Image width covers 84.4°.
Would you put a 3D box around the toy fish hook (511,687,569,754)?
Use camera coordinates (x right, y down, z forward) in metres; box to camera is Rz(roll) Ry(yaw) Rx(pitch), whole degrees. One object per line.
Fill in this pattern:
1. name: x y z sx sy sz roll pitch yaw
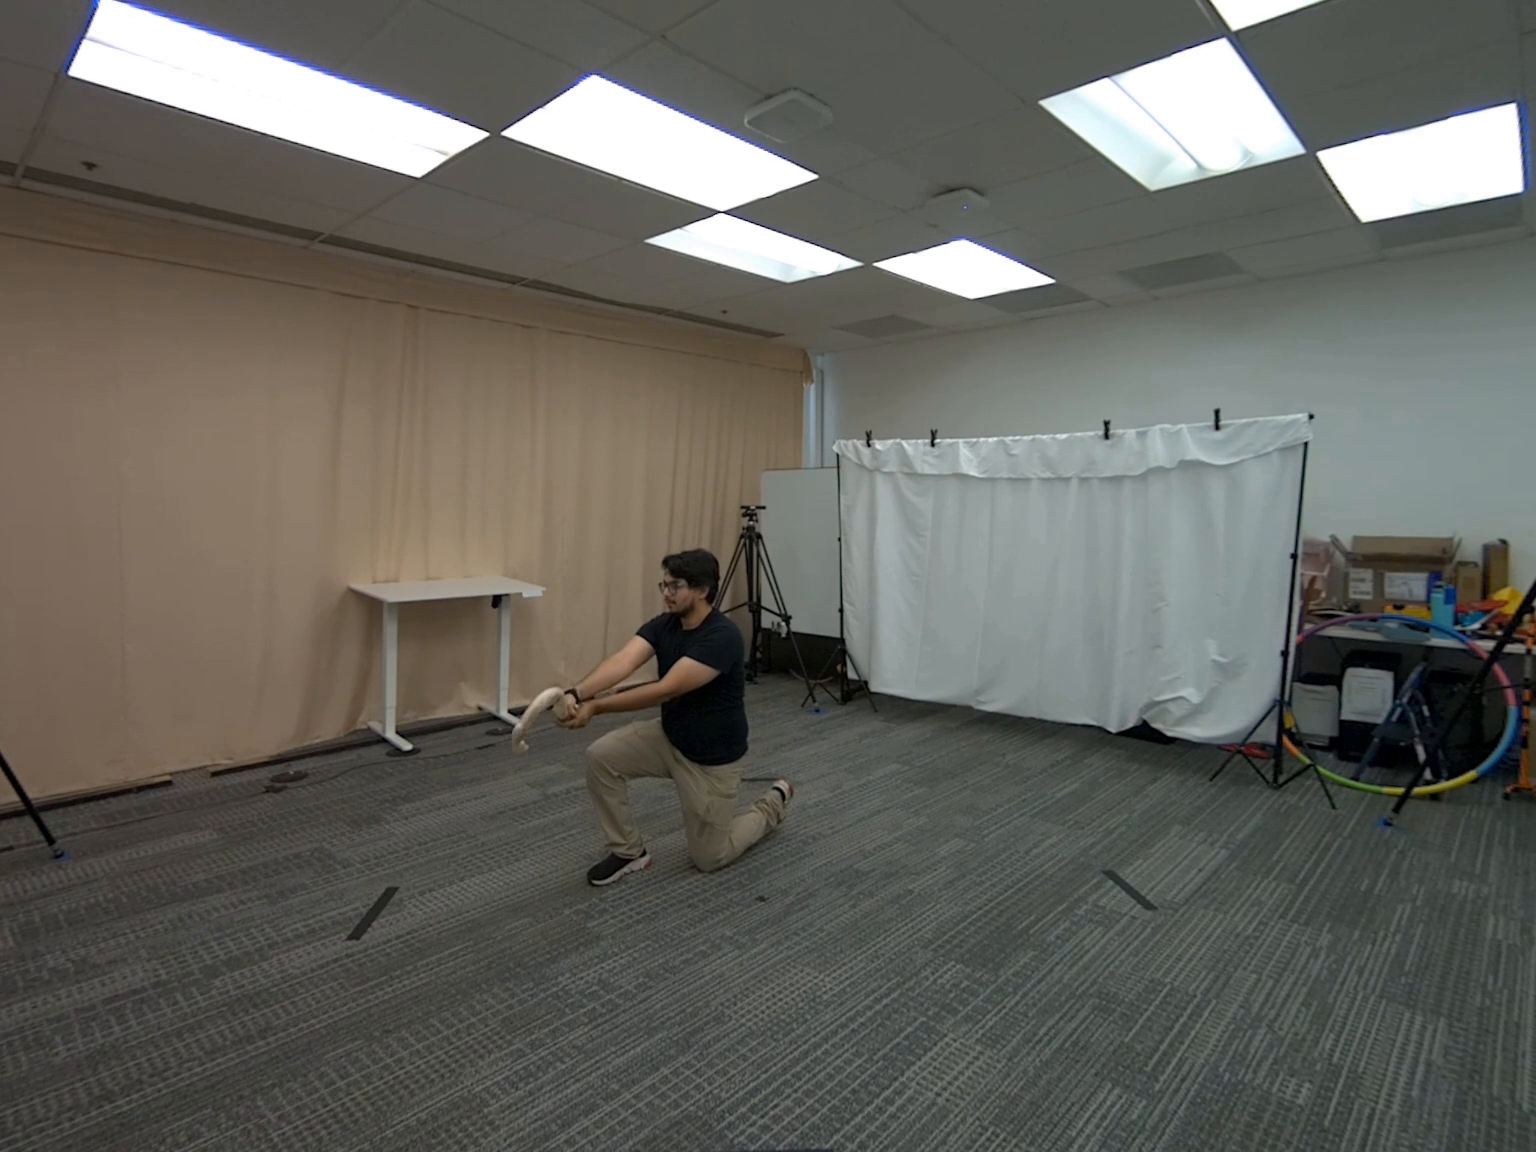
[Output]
1. toy fish hook: -0.704 0.464 2.668 0.049 0.224 0.499 36 -12 12
